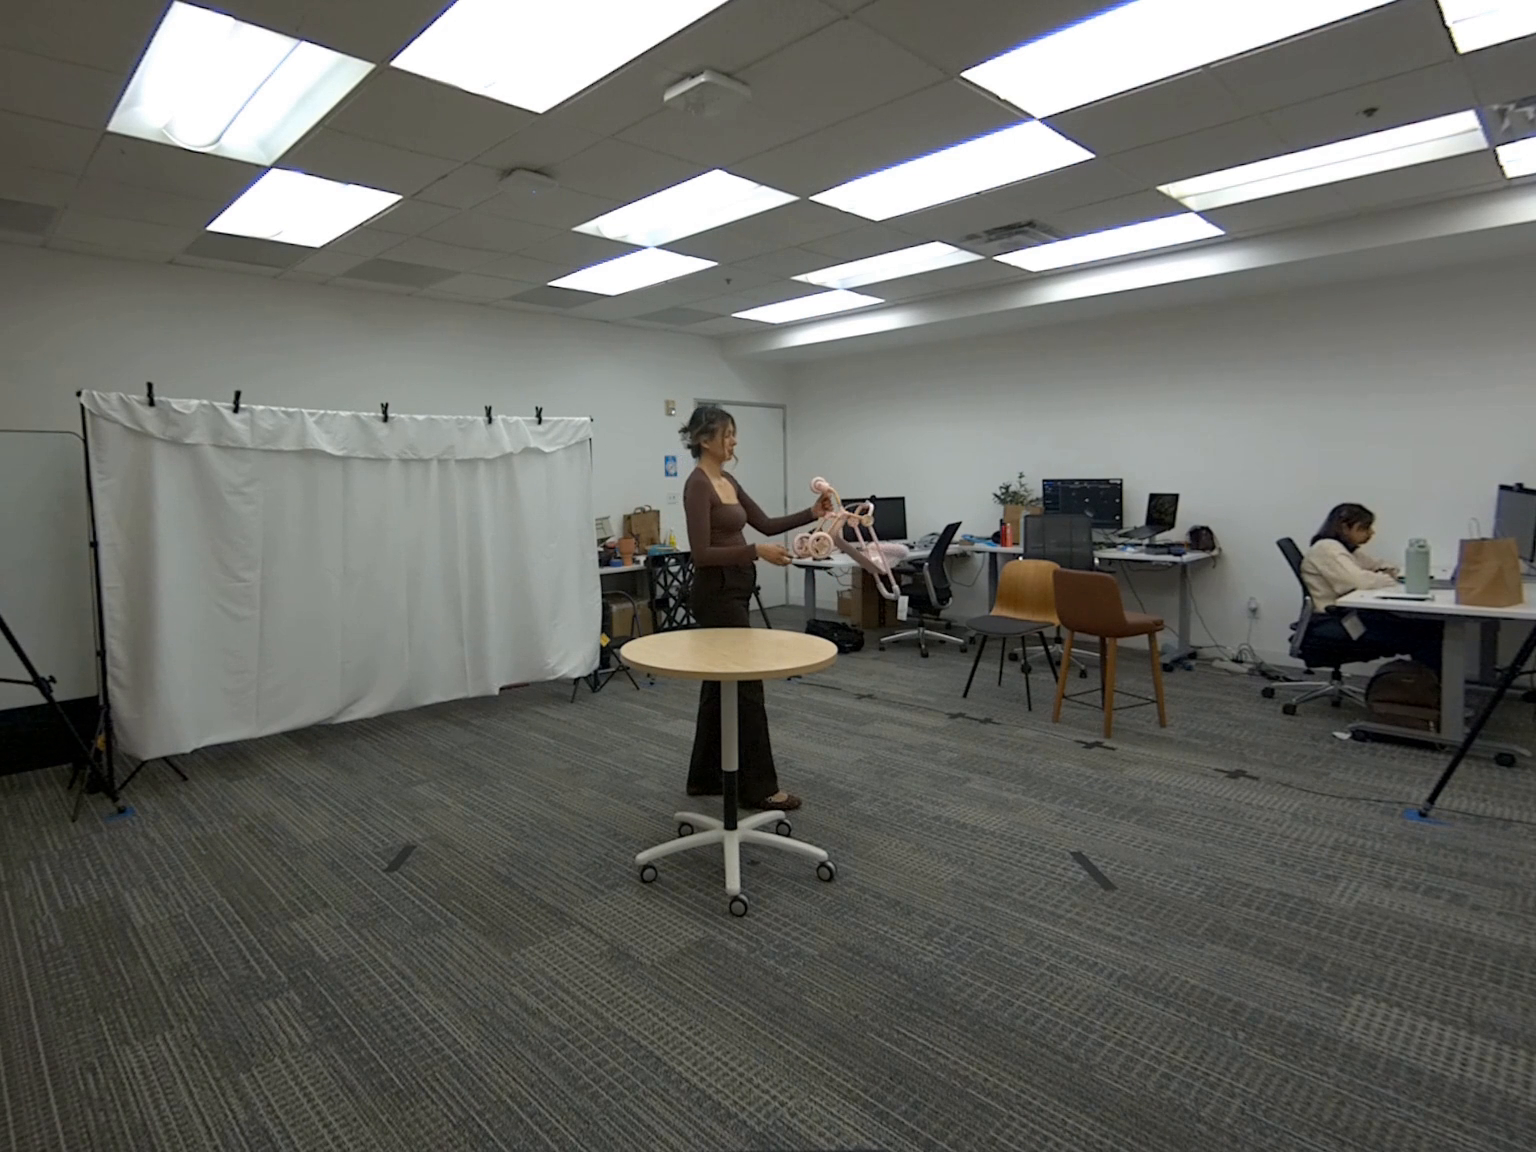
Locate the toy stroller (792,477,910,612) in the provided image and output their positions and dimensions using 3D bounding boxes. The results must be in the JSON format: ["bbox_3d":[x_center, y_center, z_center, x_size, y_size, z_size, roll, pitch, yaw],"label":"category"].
[{"bbox_3d":[0.362,-0.157,3.605,0.530,0.342,0.283,26,-9,-8],"label":"toy stroller"}]
